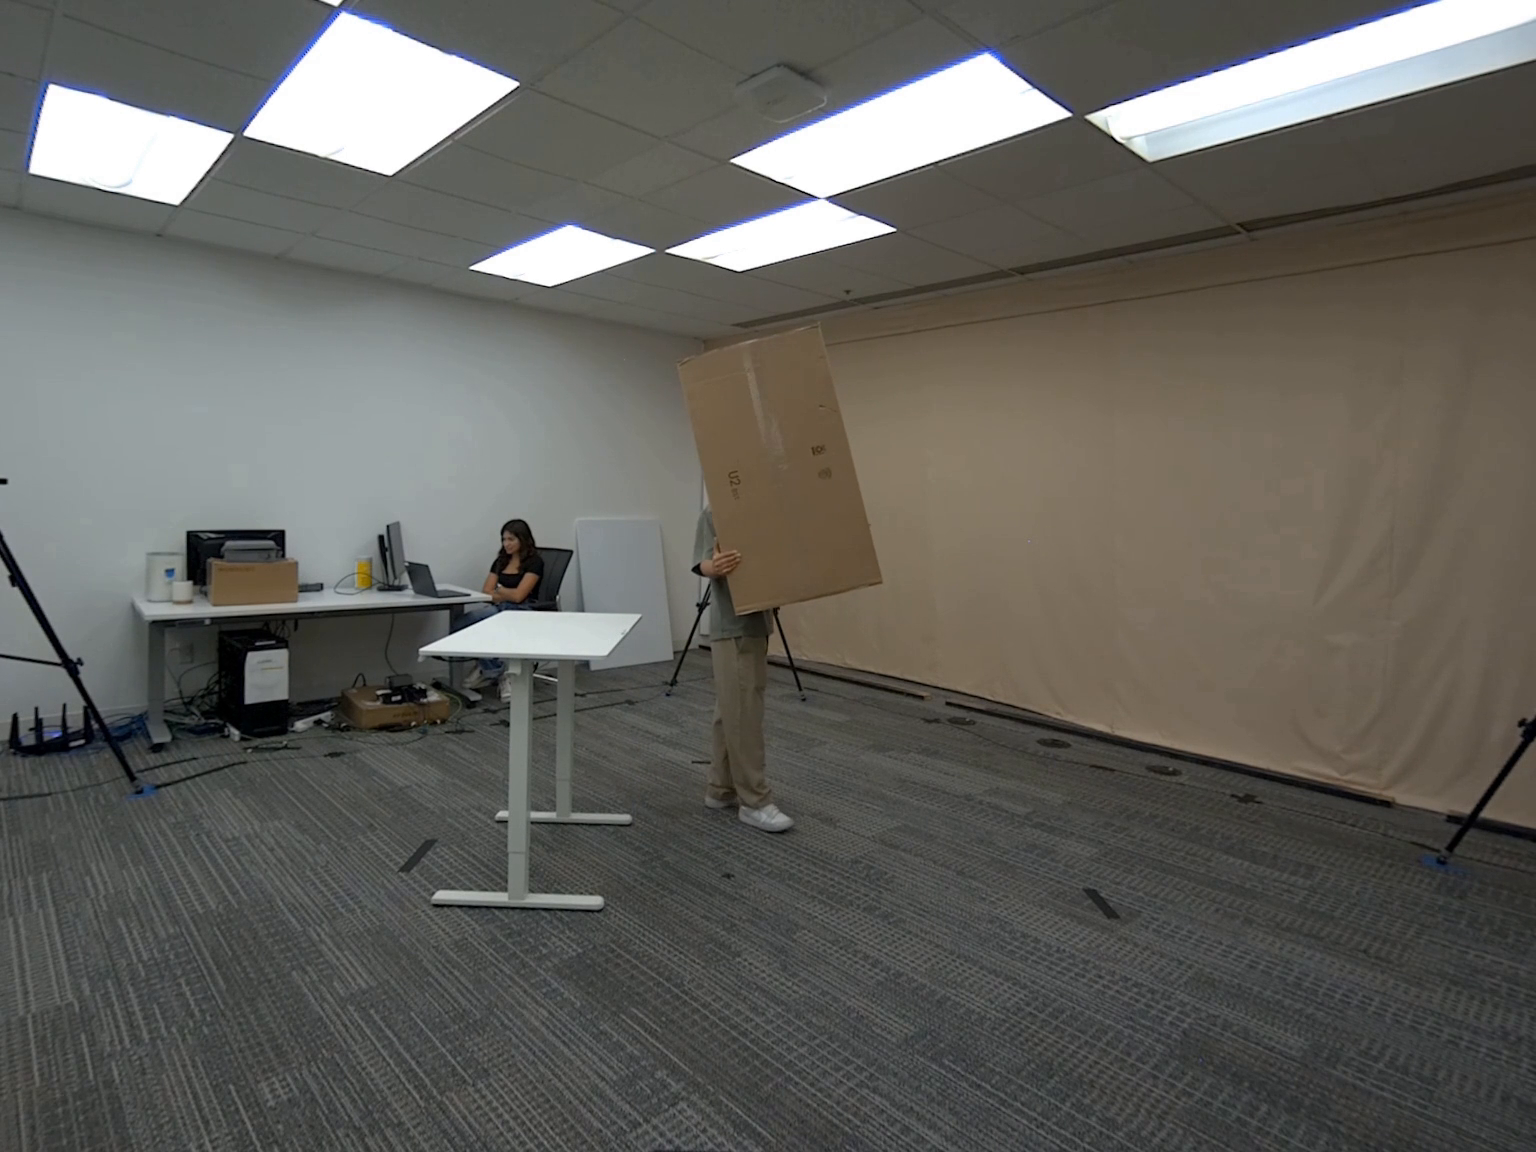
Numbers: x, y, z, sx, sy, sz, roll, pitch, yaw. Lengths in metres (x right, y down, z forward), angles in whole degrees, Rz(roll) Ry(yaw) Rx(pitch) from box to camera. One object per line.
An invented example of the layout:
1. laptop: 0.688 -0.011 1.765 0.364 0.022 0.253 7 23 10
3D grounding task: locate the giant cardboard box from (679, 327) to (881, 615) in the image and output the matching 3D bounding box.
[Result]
1. giant cardboard box: 0.051 -0.404 3.415 0.580 1.029 0.423 -14 -3 6
